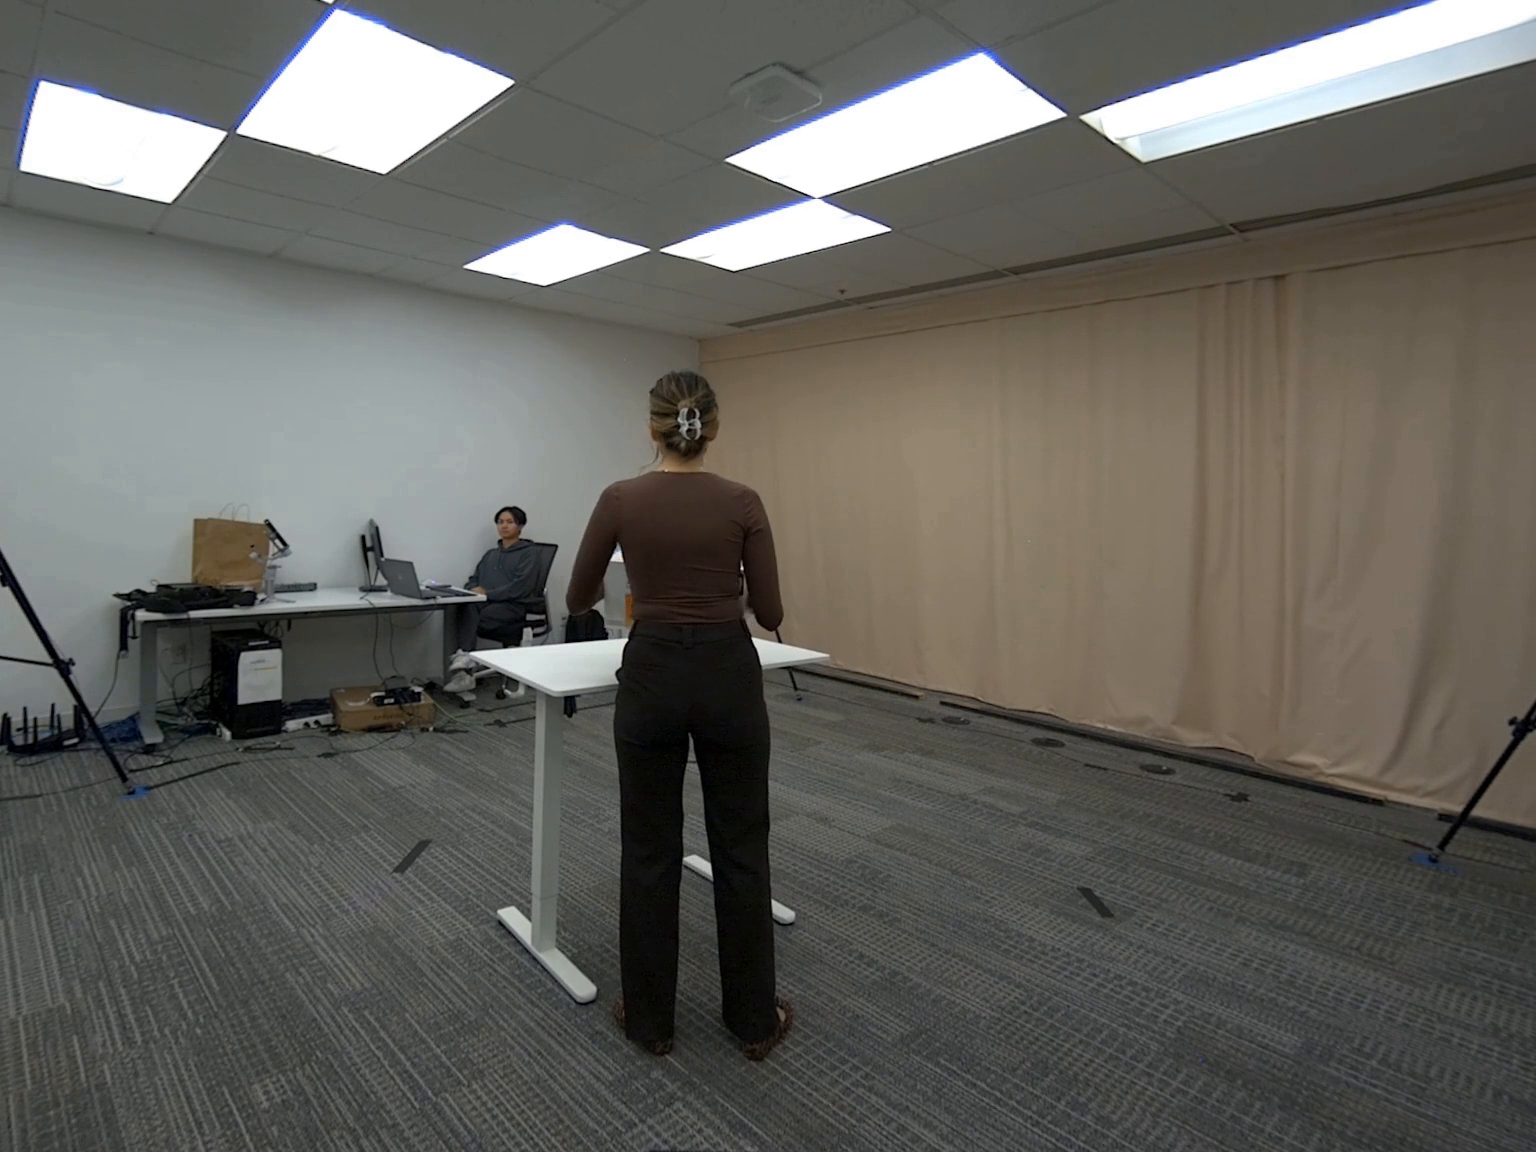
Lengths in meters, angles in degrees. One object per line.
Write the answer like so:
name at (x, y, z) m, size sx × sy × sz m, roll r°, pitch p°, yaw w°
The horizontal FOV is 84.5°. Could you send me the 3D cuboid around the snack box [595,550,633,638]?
snack box at (-0.243, 0.034, 2.516) m, size 0.409 × 0.204 × 0.340 m, roll 4°, pitch 14°, yaw 10°
